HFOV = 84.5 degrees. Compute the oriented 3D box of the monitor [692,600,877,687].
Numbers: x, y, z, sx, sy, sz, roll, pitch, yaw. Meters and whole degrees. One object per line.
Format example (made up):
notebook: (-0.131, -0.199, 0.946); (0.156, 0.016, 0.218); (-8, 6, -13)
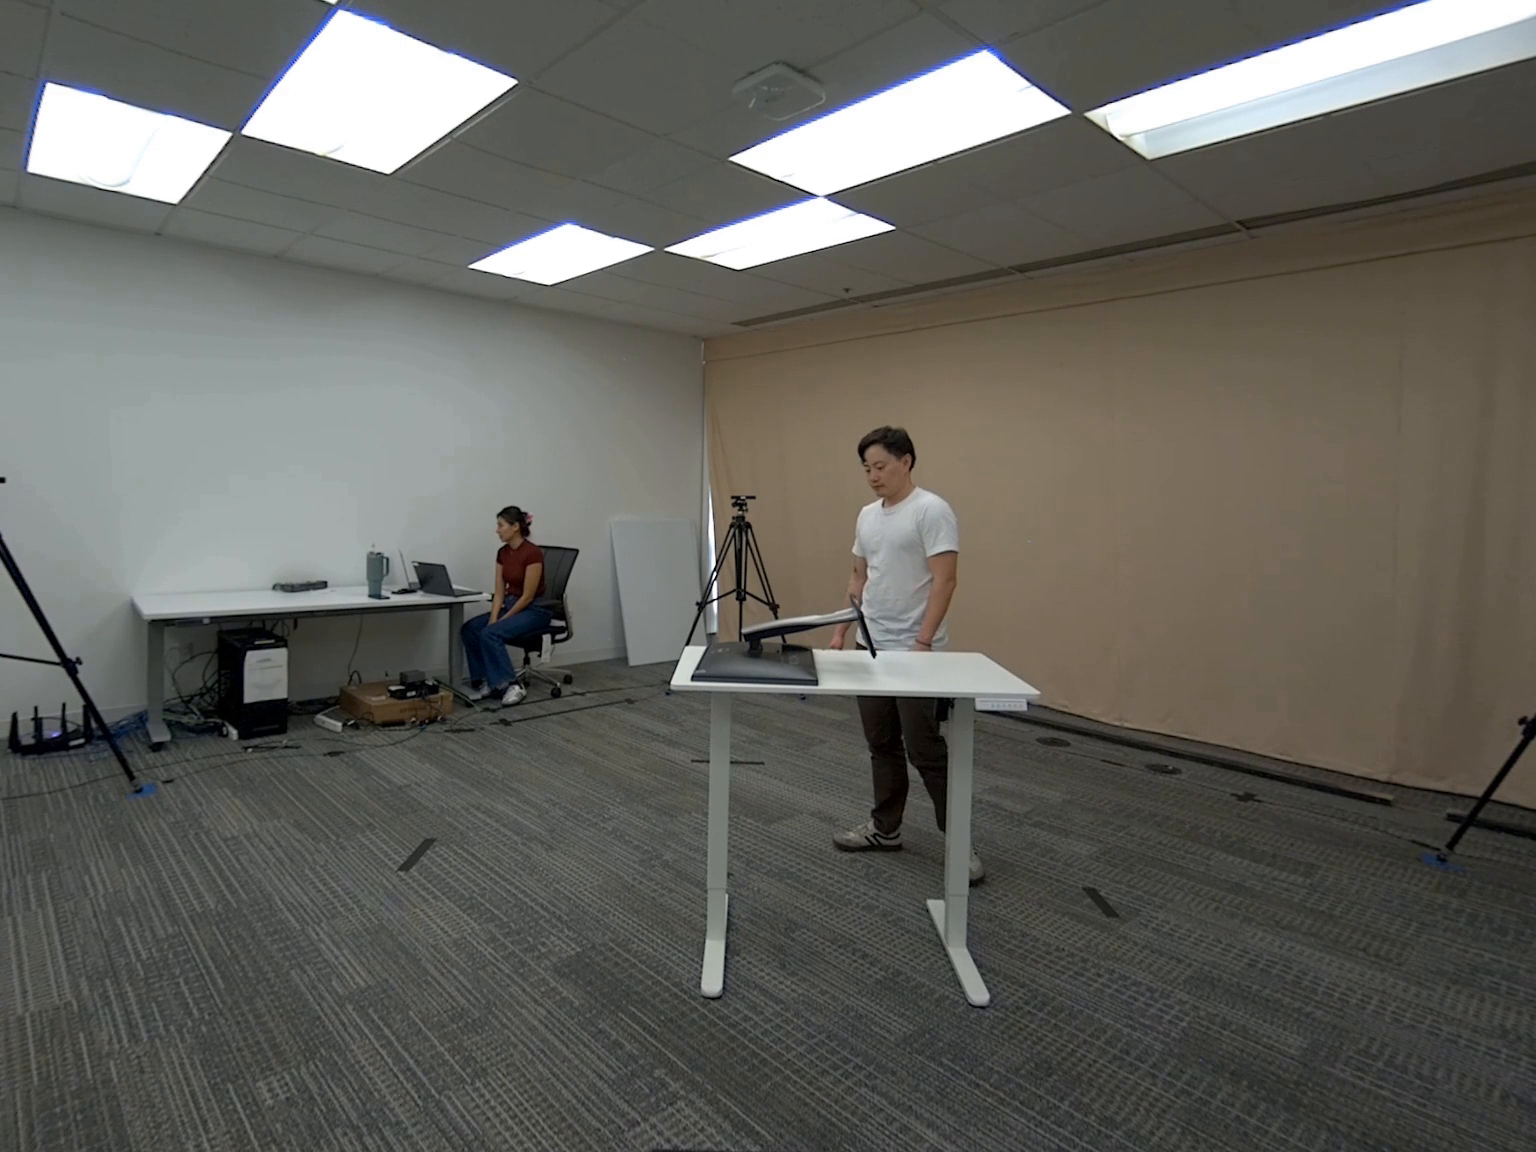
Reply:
monitor: (0.043, 0.216, 2.554); (0.524, 0.187, 0.538); (-16, 3, 3)
